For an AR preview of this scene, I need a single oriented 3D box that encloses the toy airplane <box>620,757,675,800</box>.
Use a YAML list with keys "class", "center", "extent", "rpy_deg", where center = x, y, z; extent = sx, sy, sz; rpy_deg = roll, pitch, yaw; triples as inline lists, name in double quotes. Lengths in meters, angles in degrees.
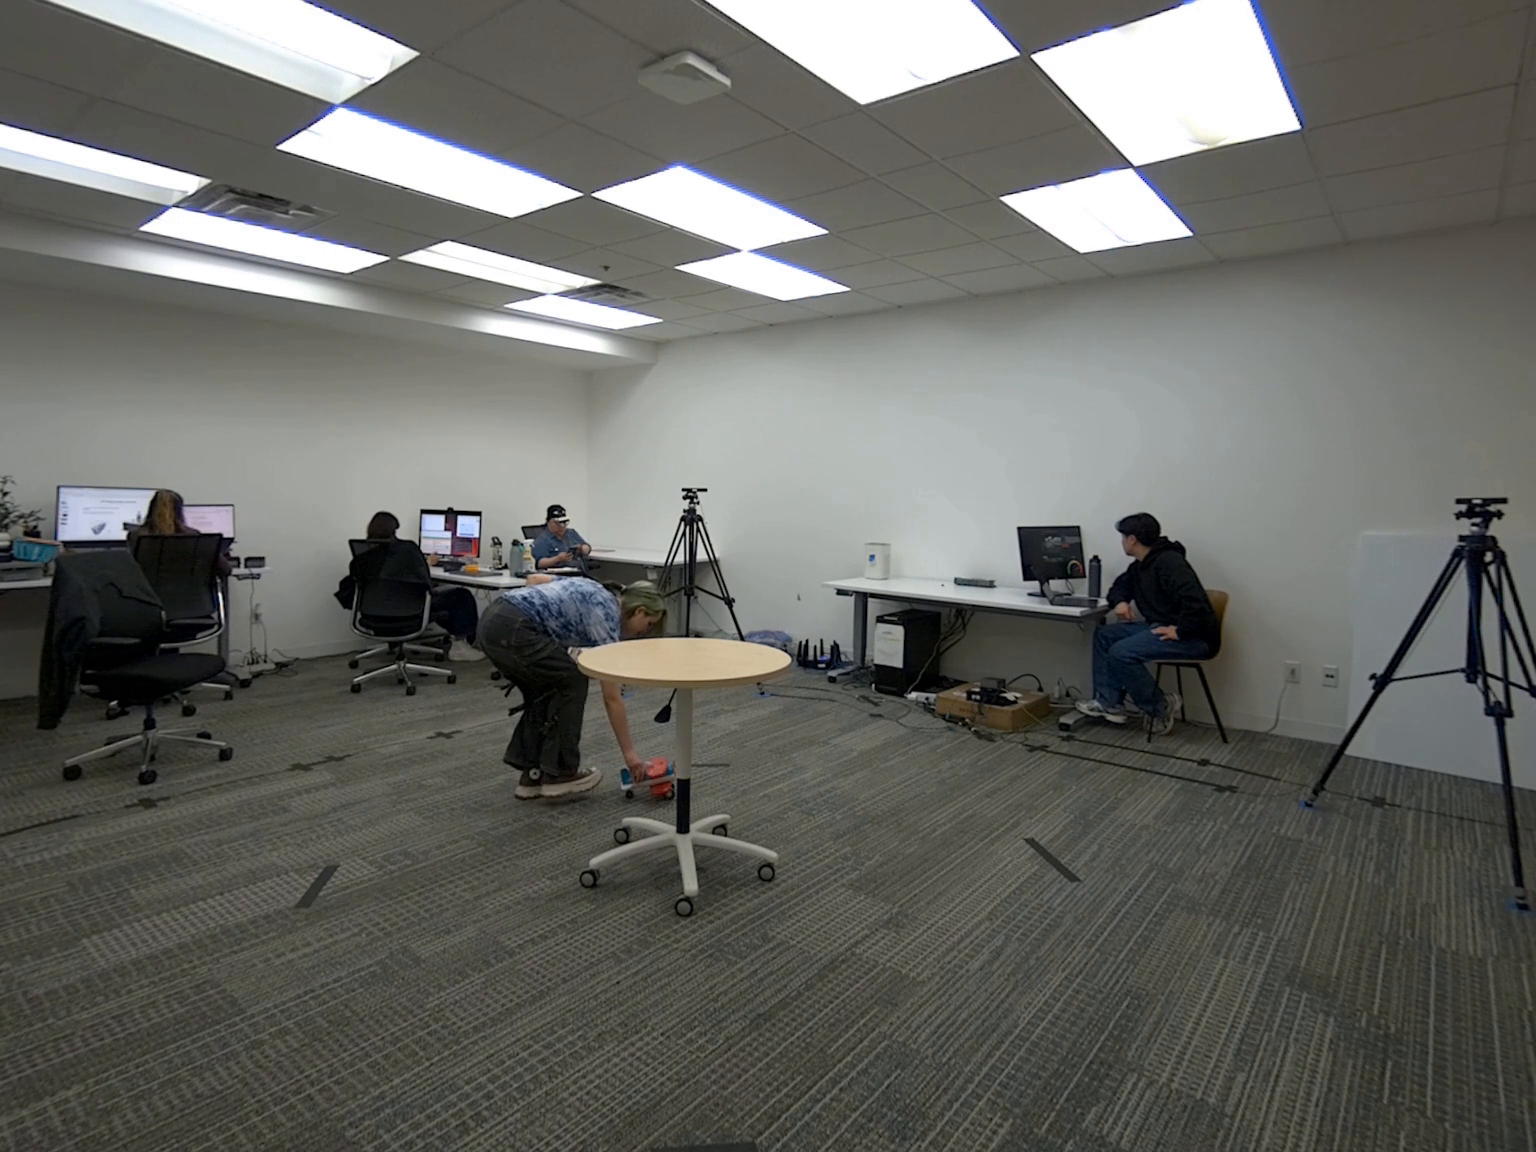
- class: "toy airplane"
  center: [-0.542, 0.923, 3.828]
  extent: [0.252, 0.156, 0.259]
  rpy_deg: [0, 4, -32]
